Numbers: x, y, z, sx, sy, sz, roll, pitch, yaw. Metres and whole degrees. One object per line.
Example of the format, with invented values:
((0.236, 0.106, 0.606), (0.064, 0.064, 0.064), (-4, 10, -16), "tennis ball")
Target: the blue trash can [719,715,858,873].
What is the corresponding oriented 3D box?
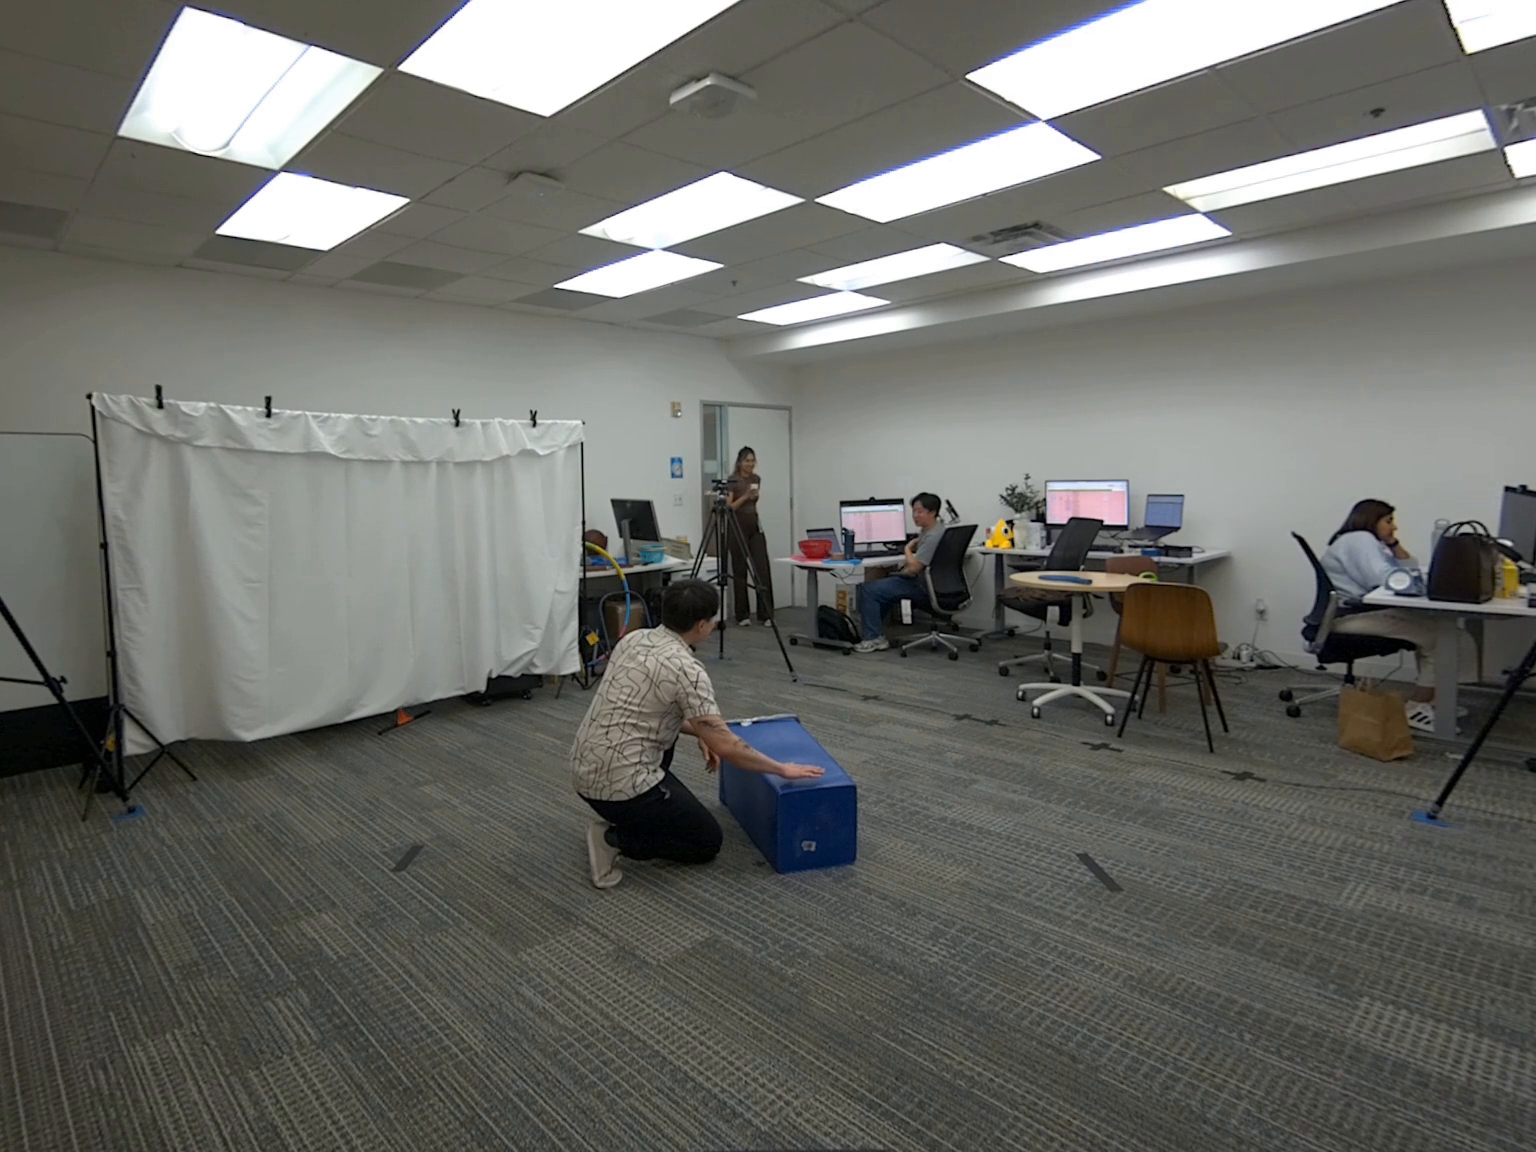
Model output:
((0.062, 0.846, 3.380), (0.373, 0.371, 0.729), (-3, 10, -17), "blue trash can")
